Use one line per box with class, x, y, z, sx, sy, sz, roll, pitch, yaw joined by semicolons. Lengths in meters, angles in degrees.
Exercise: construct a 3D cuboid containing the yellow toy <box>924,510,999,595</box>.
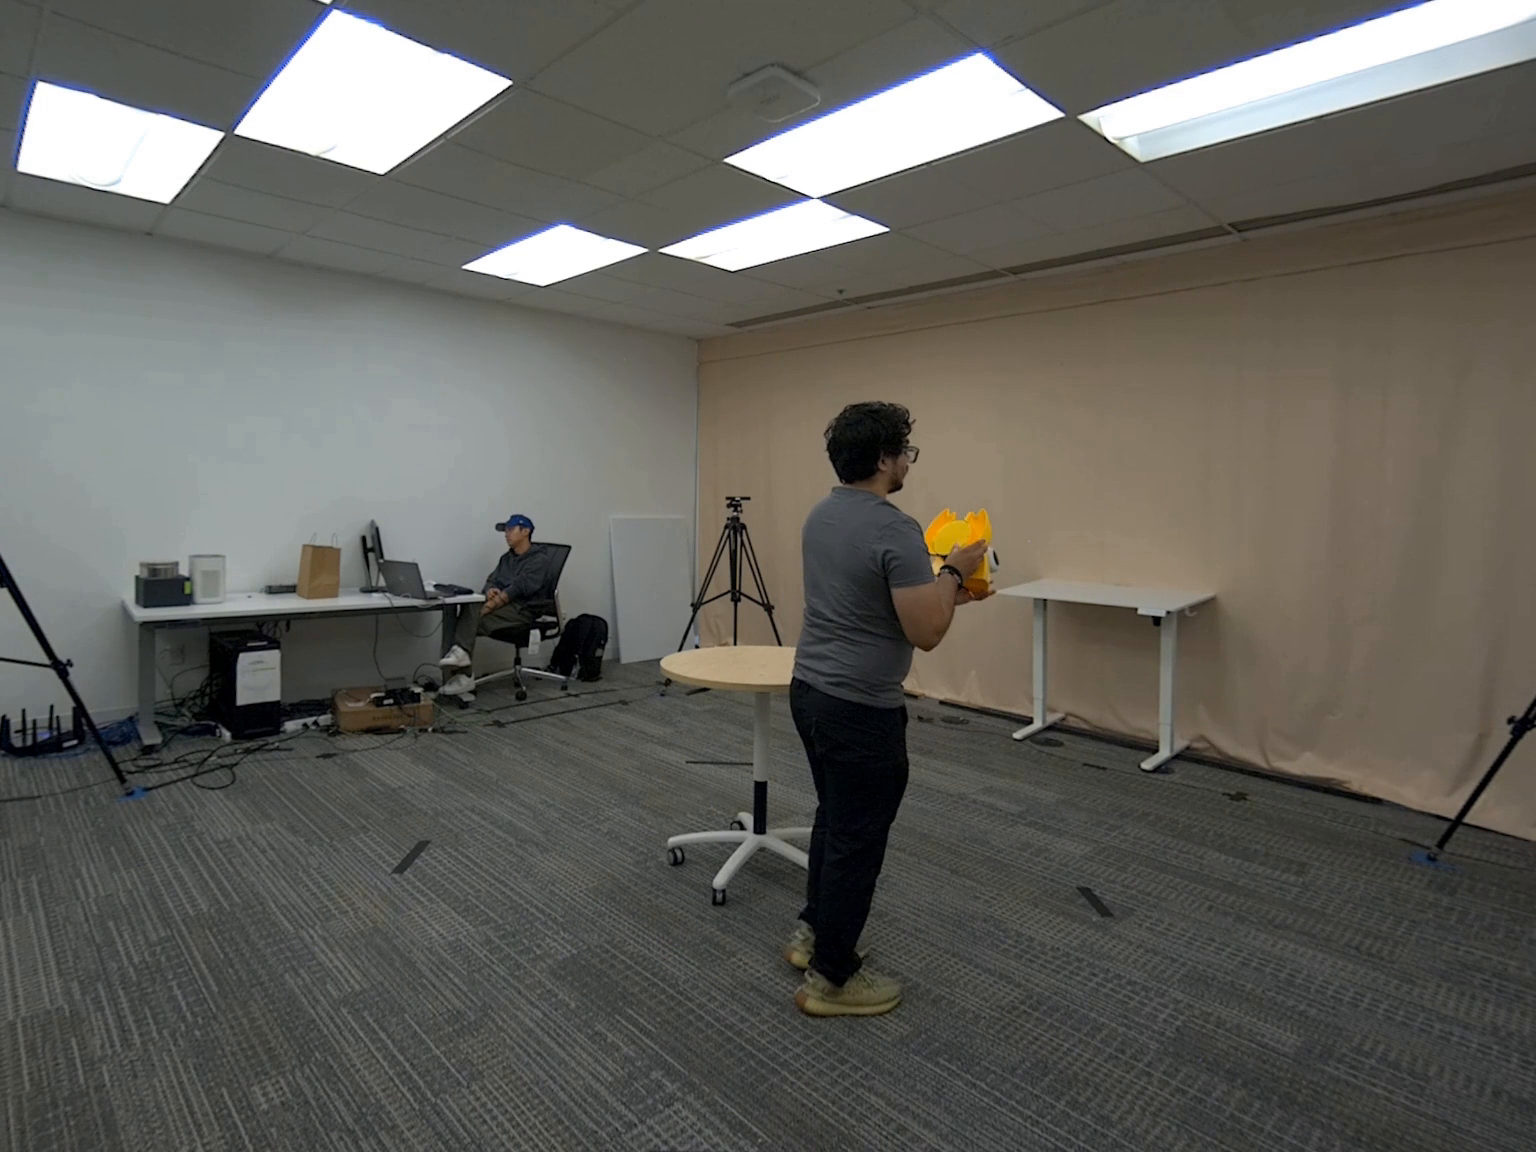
yellow toy;0.587;-0.054;2.451;0.224;0.194;0.210;41;-20;-31
